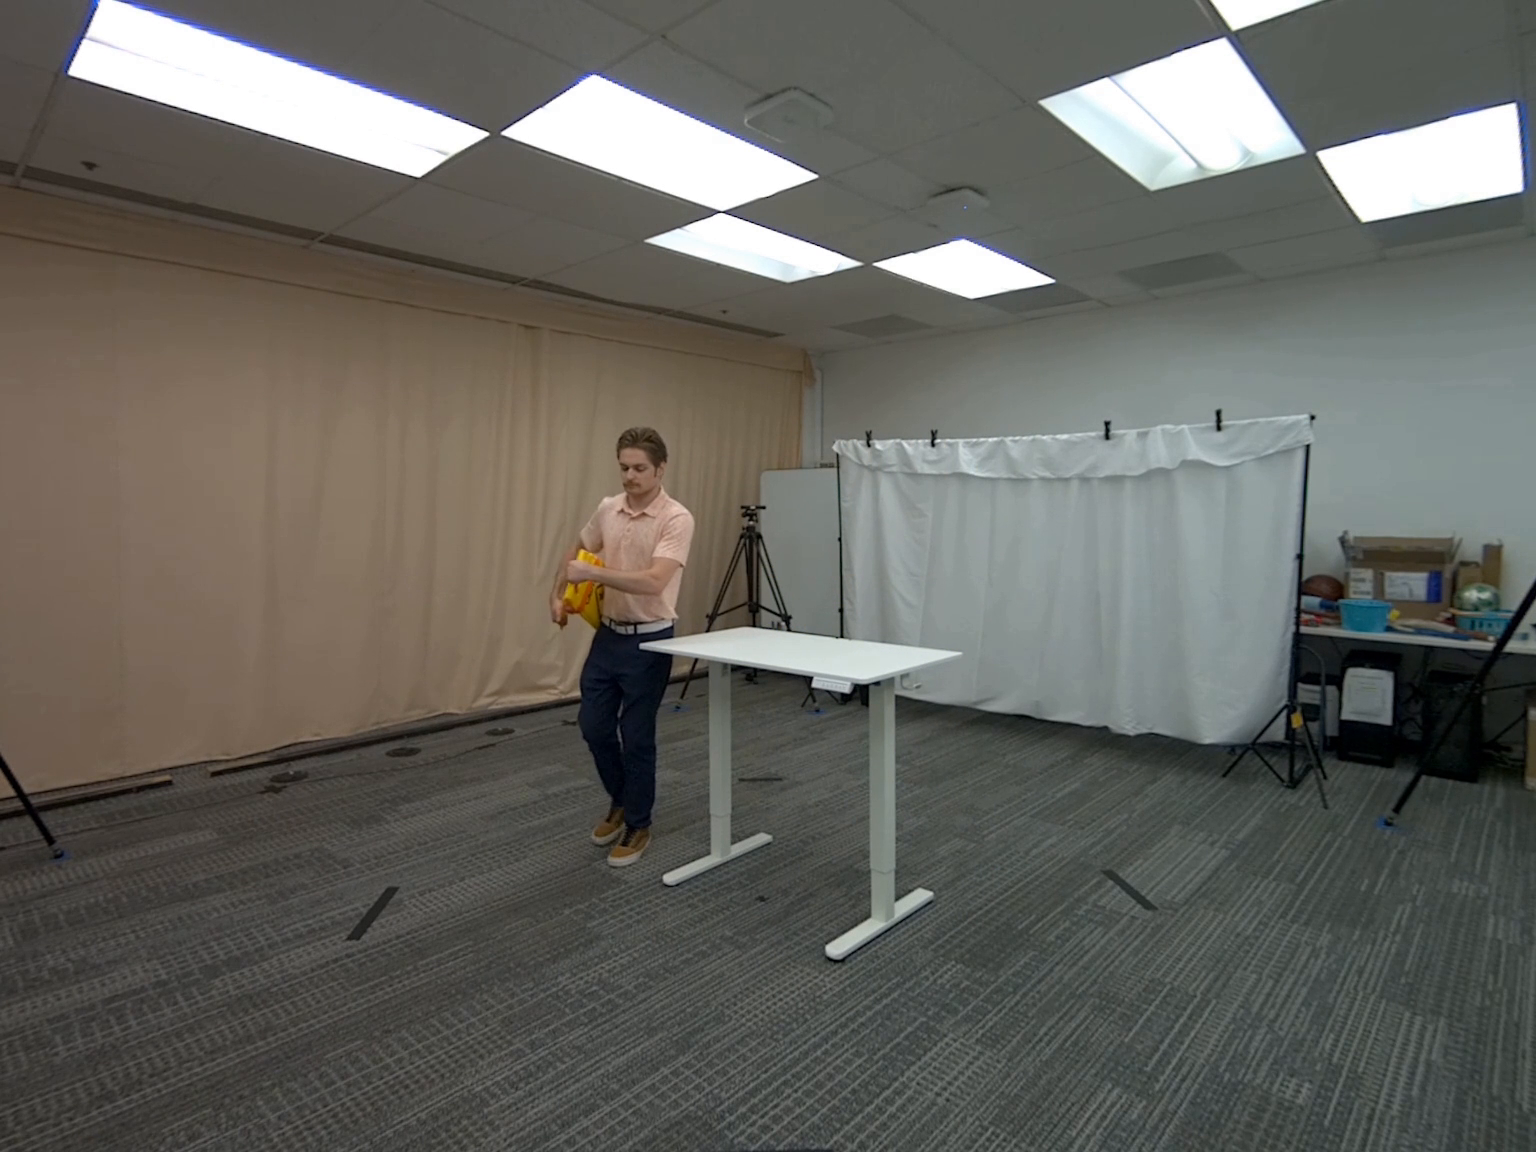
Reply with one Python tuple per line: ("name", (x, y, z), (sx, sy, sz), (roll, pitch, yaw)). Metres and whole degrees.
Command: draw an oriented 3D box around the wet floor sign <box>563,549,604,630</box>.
("wet floor sign", (-0.750, 0.076, 3.432), (0.291, 0.283, 0.640), (15, -15, 2))
